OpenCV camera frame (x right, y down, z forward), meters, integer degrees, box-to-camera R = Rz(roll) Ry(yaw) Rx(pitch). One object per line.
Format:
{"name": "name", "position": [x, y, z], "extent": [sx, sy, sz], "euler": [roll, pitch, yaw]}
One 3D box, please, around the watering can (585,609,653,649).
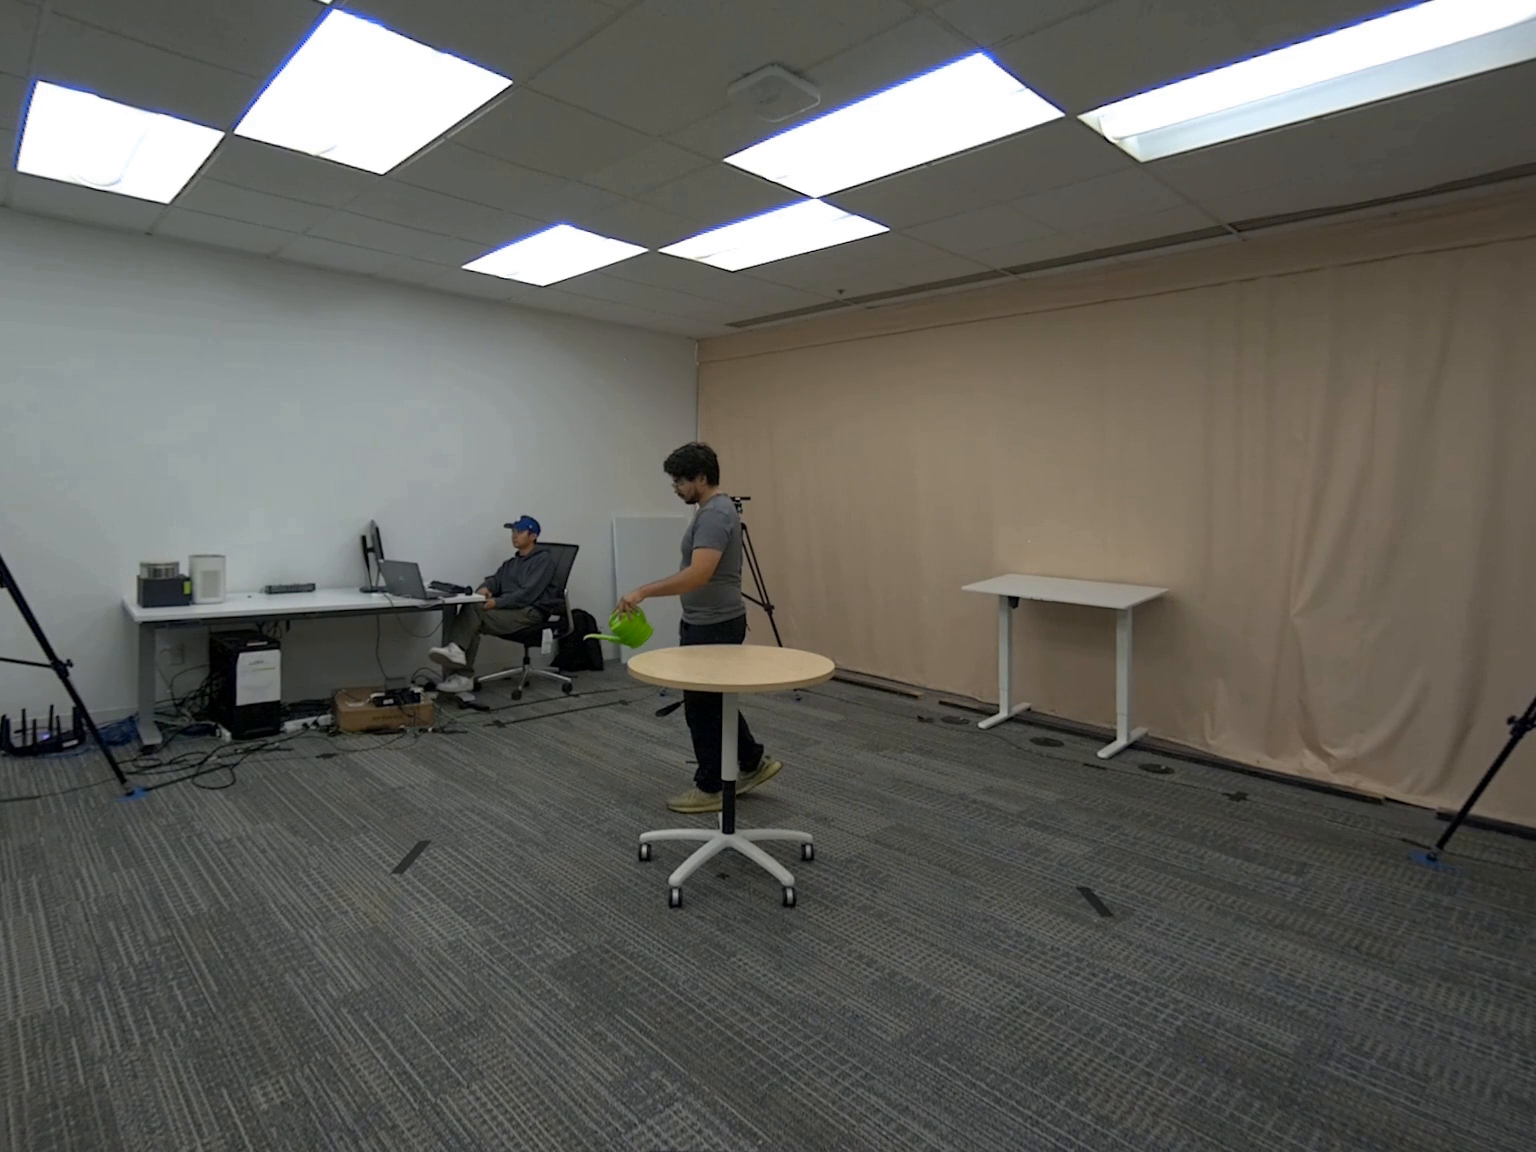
{"name": "watering can", "position": [-0.626, 0.229, 3.557], "extent": [0.280, 0.173, 0.099], "euler": [-31, 25, 28]}
